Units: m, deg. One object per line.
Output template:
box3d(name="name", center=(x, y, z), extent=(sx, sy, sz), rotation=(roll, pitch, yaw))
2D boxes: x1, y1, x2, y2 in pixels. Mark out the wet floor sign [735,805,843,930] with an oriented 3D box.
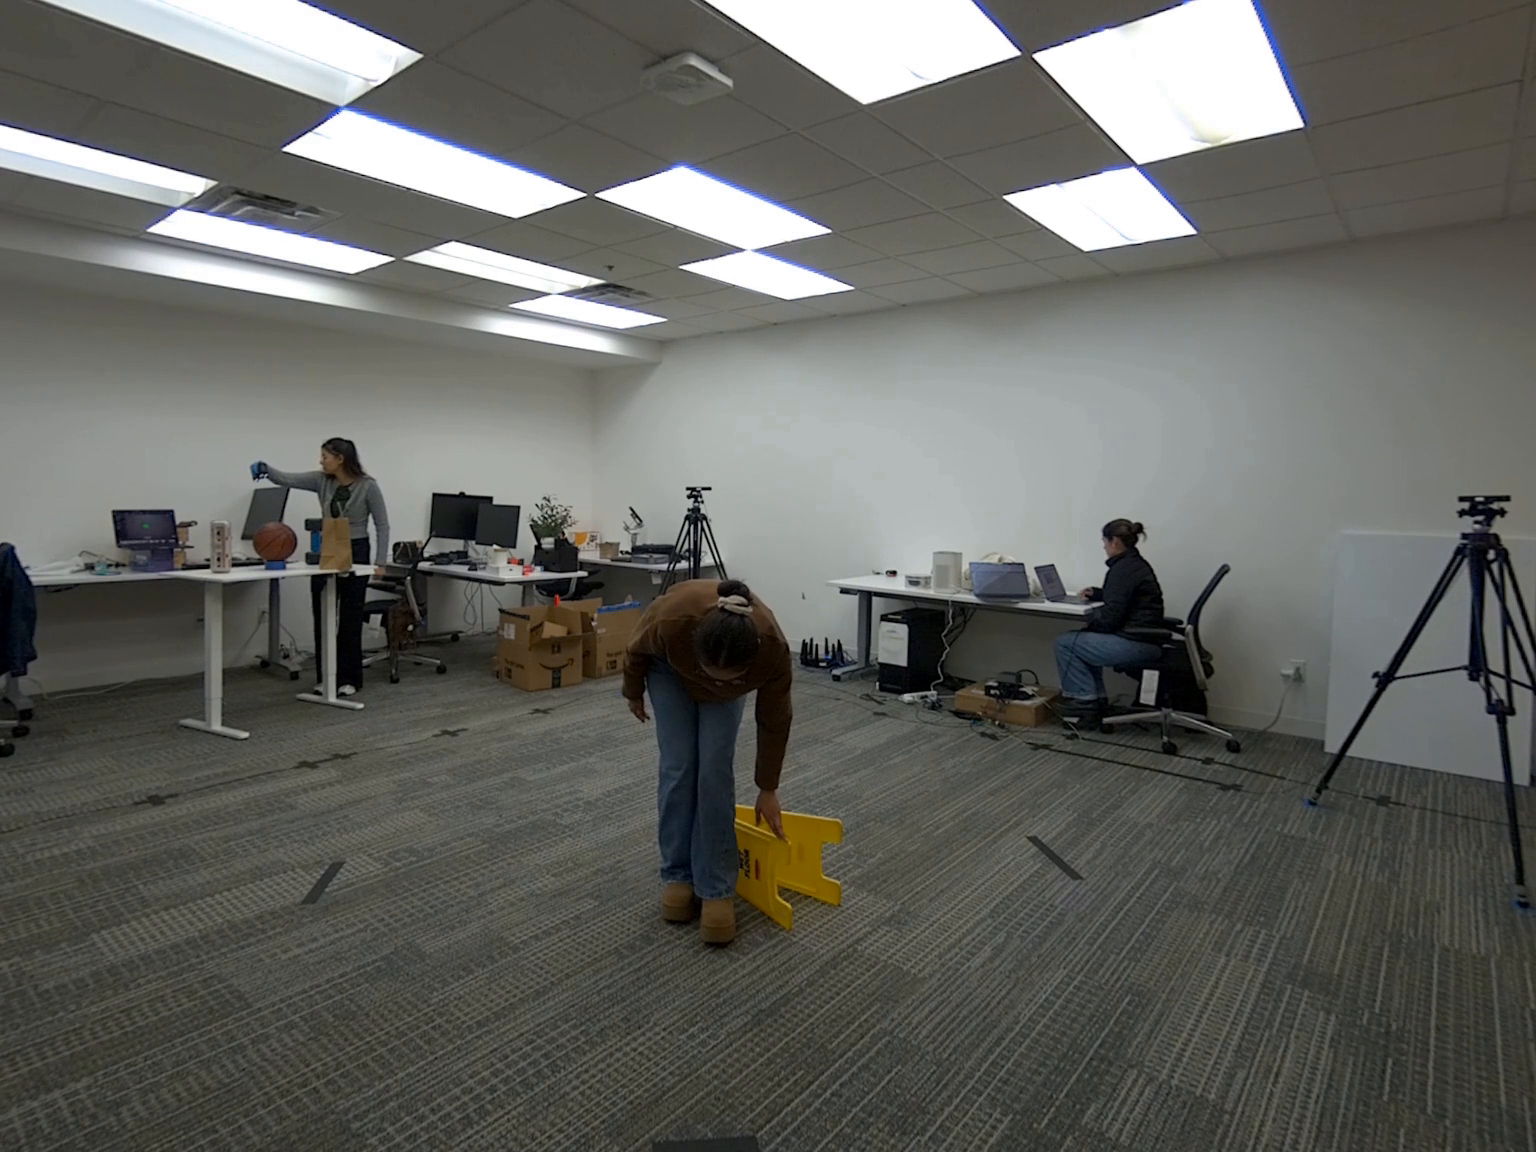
box3d(name="wet floor sign", center=(-0.093, 0.952, 2.986), extent=(0.667, 0.282, 0.281), rotation=(3, 3, 44))
